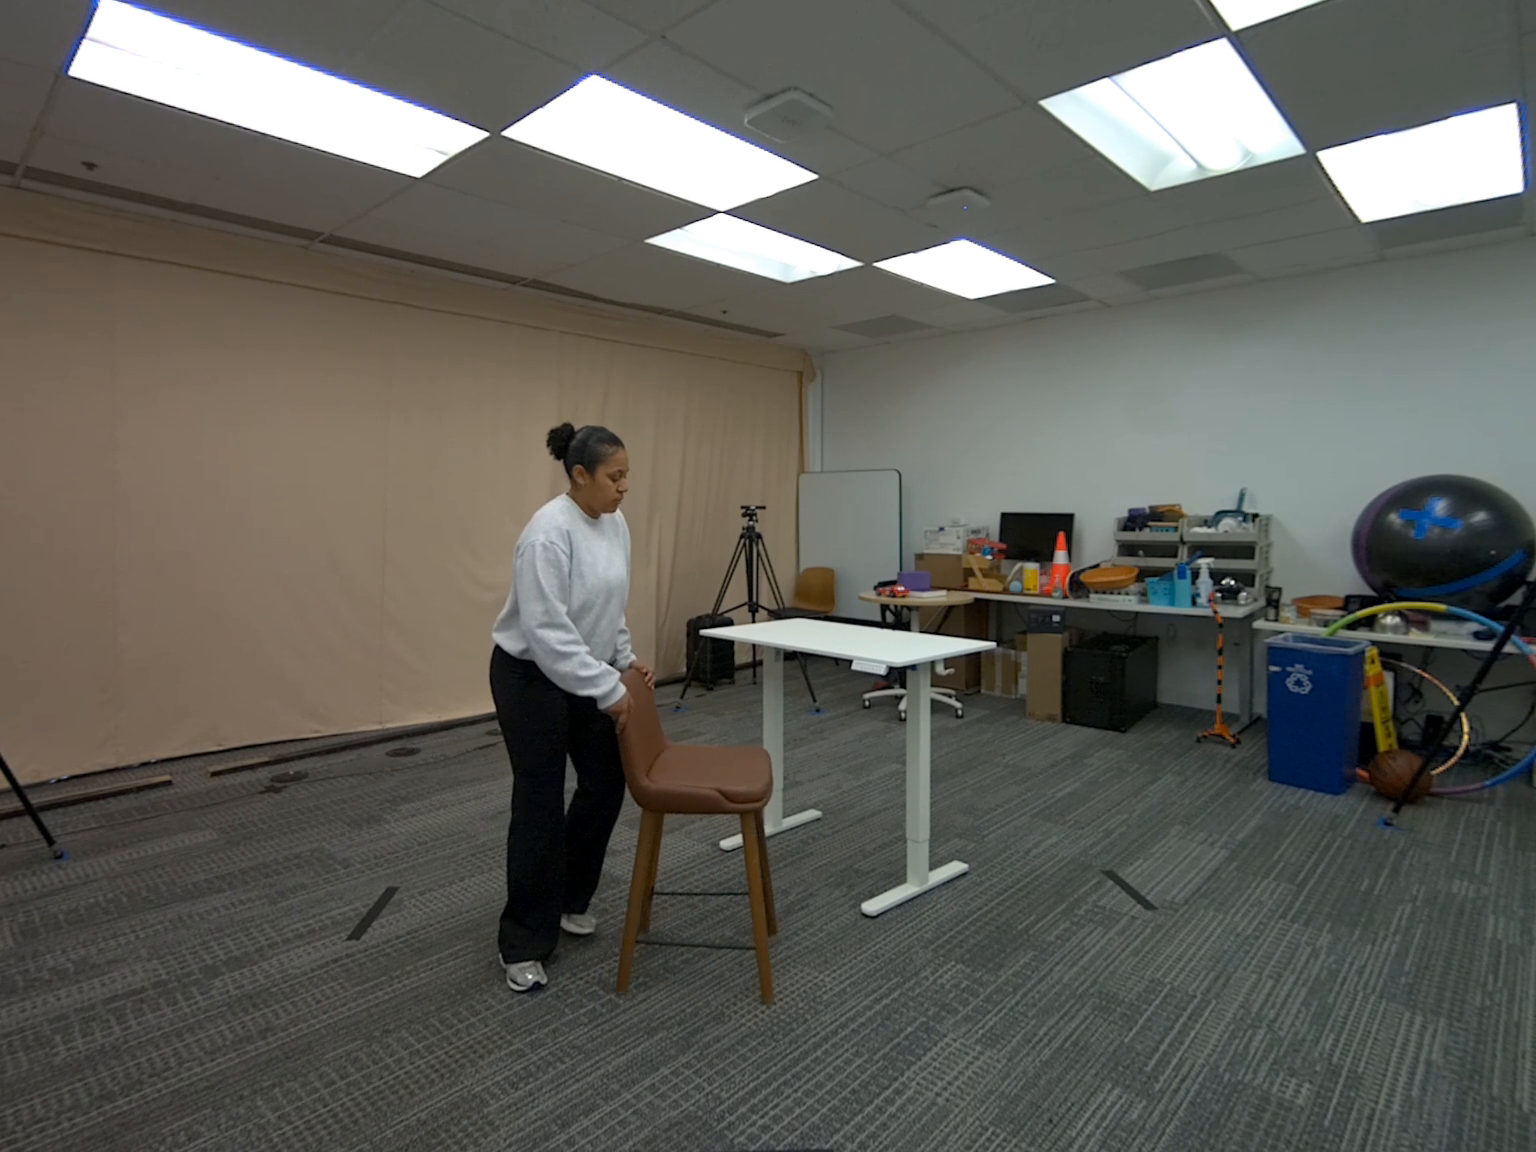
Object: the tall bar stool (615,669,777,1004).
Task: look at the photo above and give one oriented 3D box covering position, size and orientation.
[{"bbox_3d":[-0.214,0.747,2.538,0.470,0.888,0.455,-2,3,4],"label":"tall bar stool"}]
